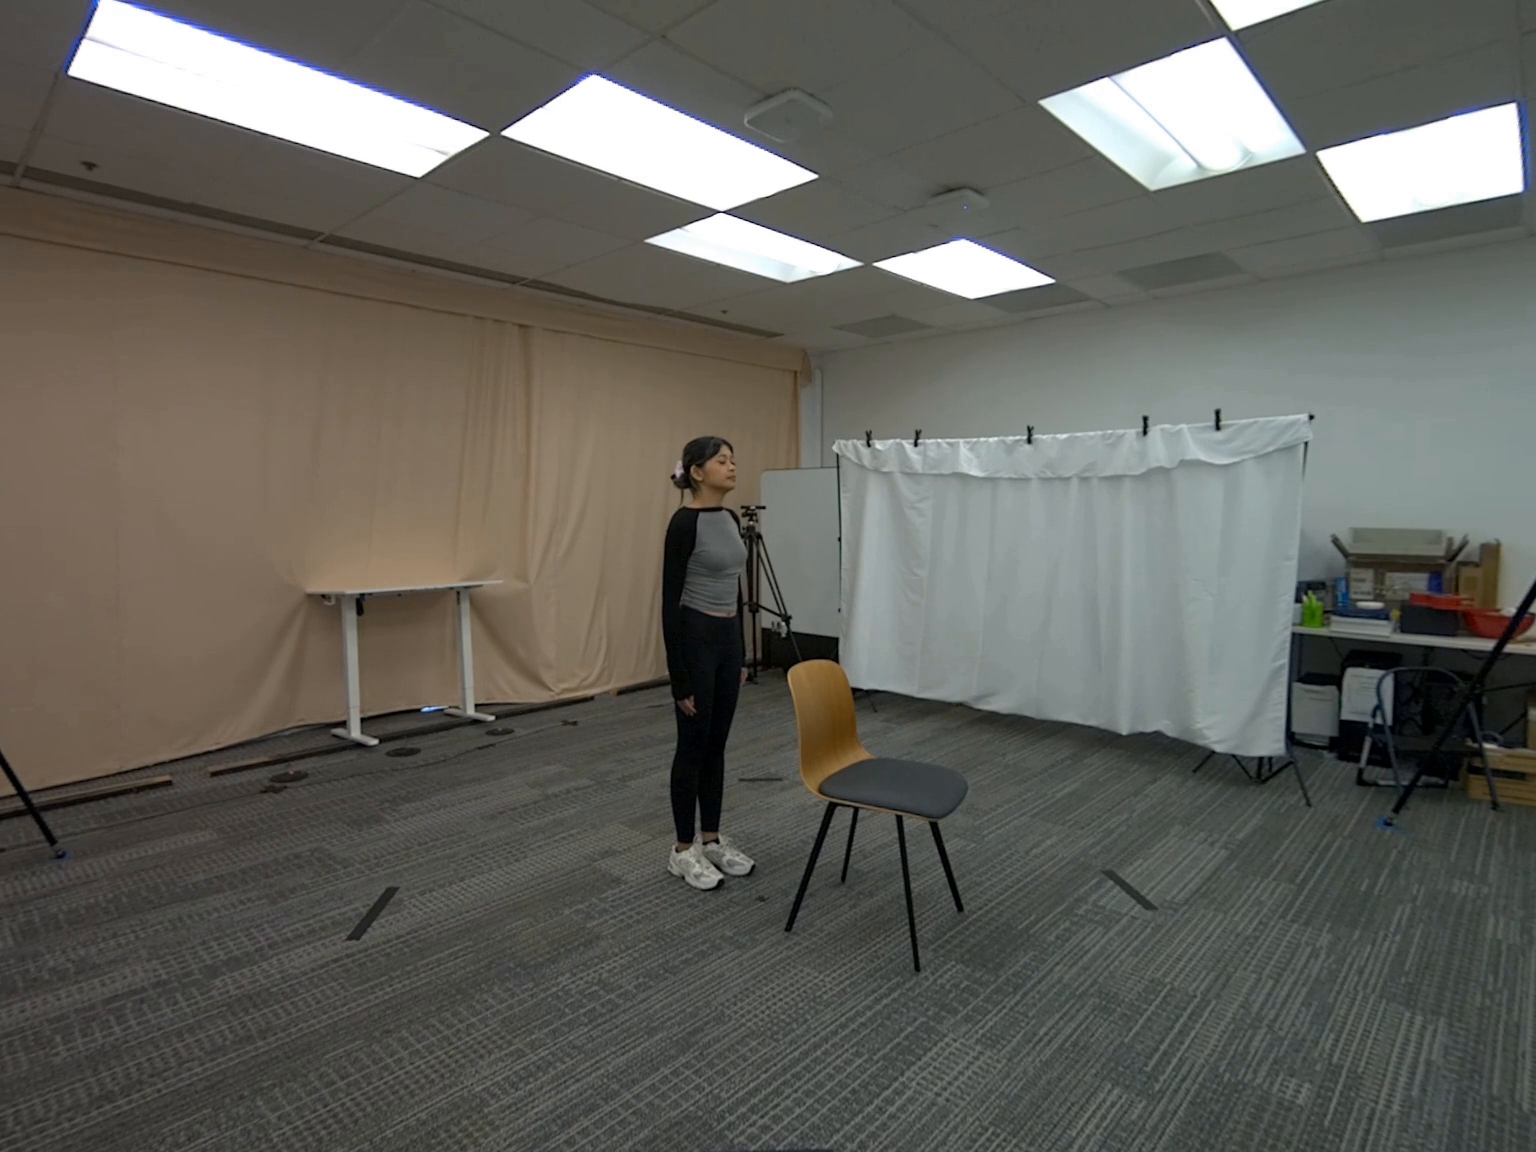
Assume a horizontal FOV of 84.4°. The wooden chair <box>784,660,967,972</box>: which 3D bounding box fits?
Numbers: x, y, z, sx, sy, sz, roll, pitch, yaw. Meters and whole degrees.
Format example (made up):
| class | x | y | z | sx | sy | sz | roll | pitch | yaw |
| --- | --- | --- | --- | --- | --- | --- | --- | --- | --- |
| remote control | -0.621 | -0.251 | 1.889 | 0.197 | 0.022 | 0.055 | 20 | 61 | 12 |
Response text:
| class | x | y | z | sx | sy | sz | roll | pitch | yaw |
| --- | --- | --- | --- | --- | --- | --- | --- | --- | --- |
| wooden chair | 0.376 | 0.731 | 2.786 | 0.538 | 0.877 | 0.465 | -4 | 1 | 32 |
